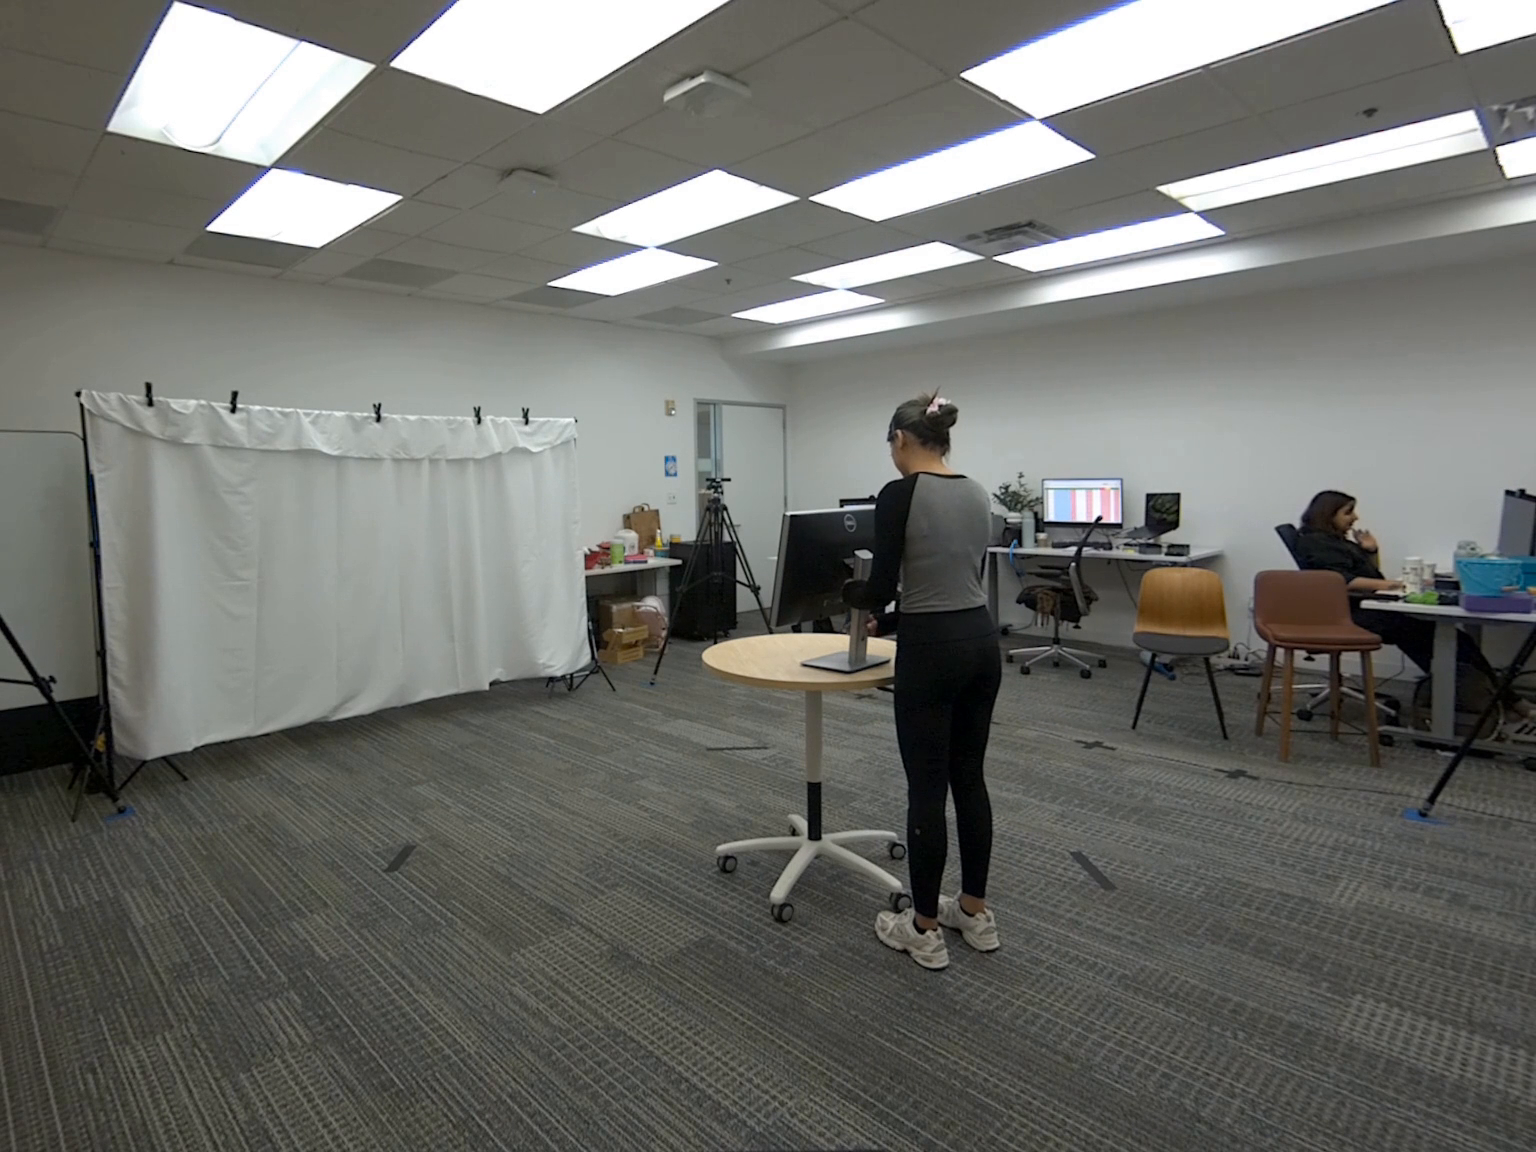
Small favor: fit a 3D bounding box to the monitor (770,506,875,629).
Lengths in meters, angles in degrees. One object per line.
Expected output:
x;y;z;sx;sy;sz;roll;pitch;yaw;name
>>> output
0.258;0.043;2.770;0.192;0.522;0.525;-2;3;42;monitor
